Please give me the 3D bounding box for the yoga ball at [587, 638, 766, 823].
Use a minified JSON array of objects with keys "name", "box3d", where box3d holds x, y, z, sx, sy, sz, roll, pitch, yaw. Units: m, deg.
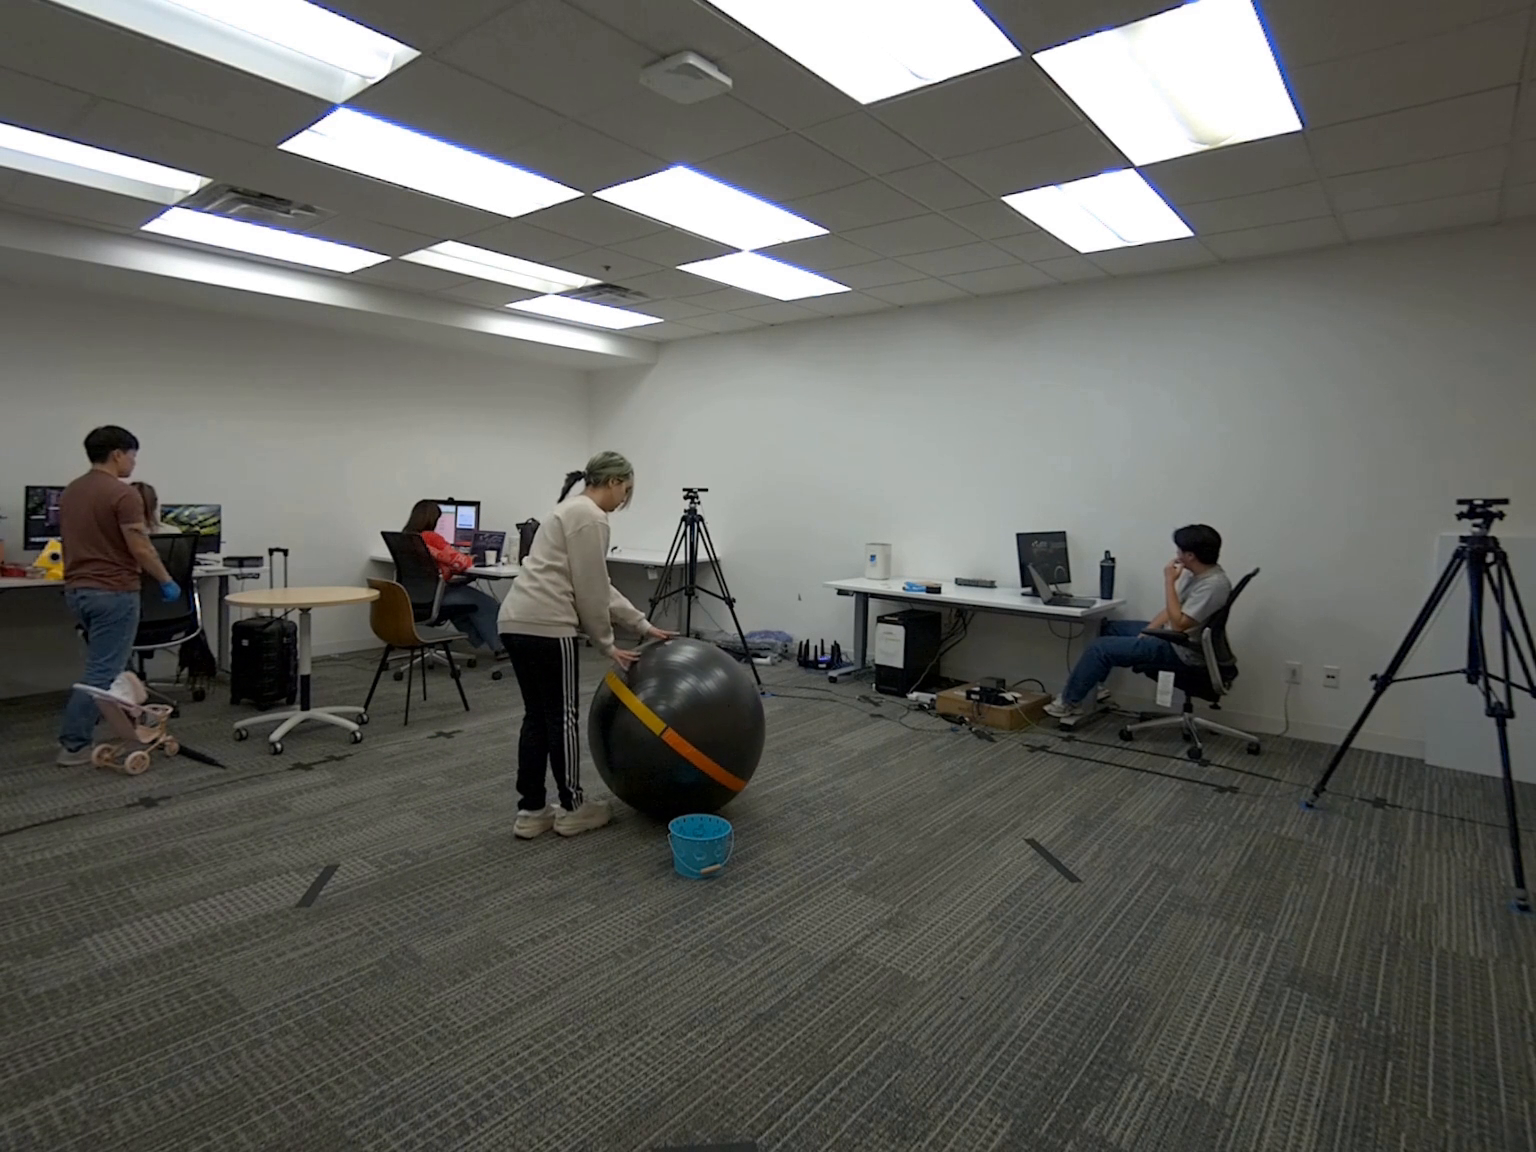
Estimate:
[{"name":"yoga ball","box3d":[-0.392,0.648,3.642,0.757,0.755,0.762,1,4,-2]}]
